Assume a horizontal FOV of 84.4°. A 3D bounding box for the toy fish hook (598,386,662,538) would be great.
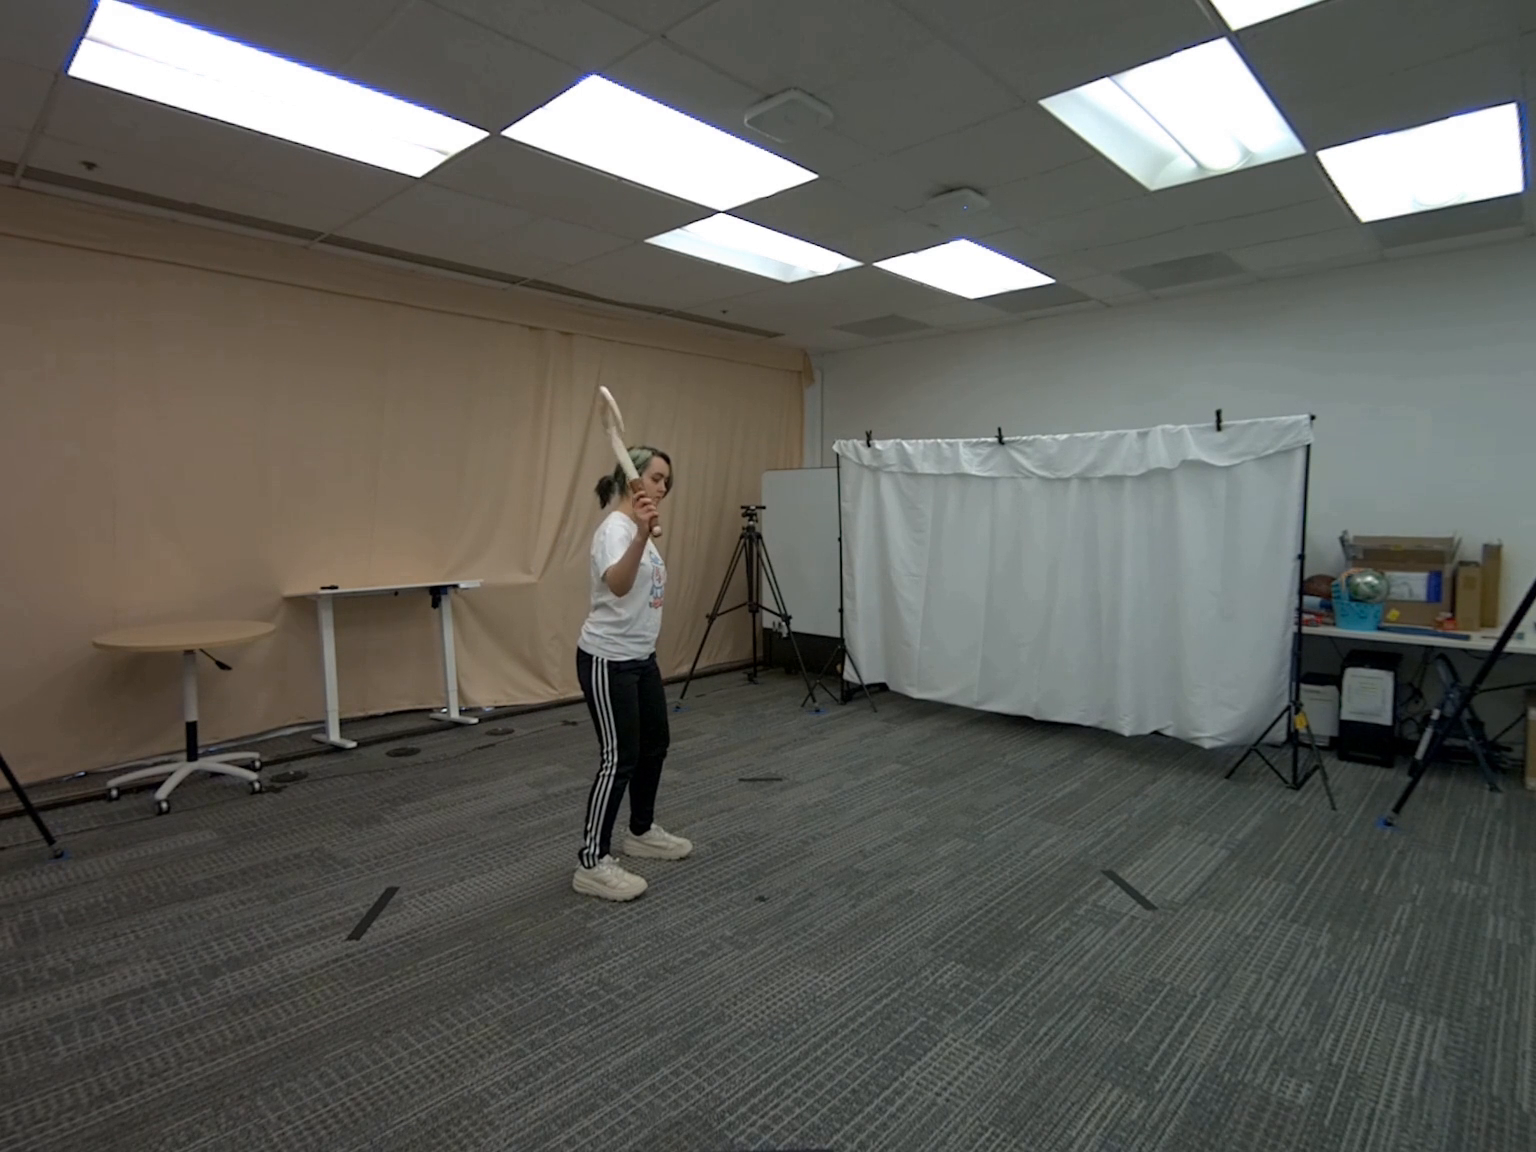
[{"bbox_3d":[-0.424,-0.355,2.678,0.048,0.512,0.224,-21,-11,-14],"label":"toy fish hook"}]
